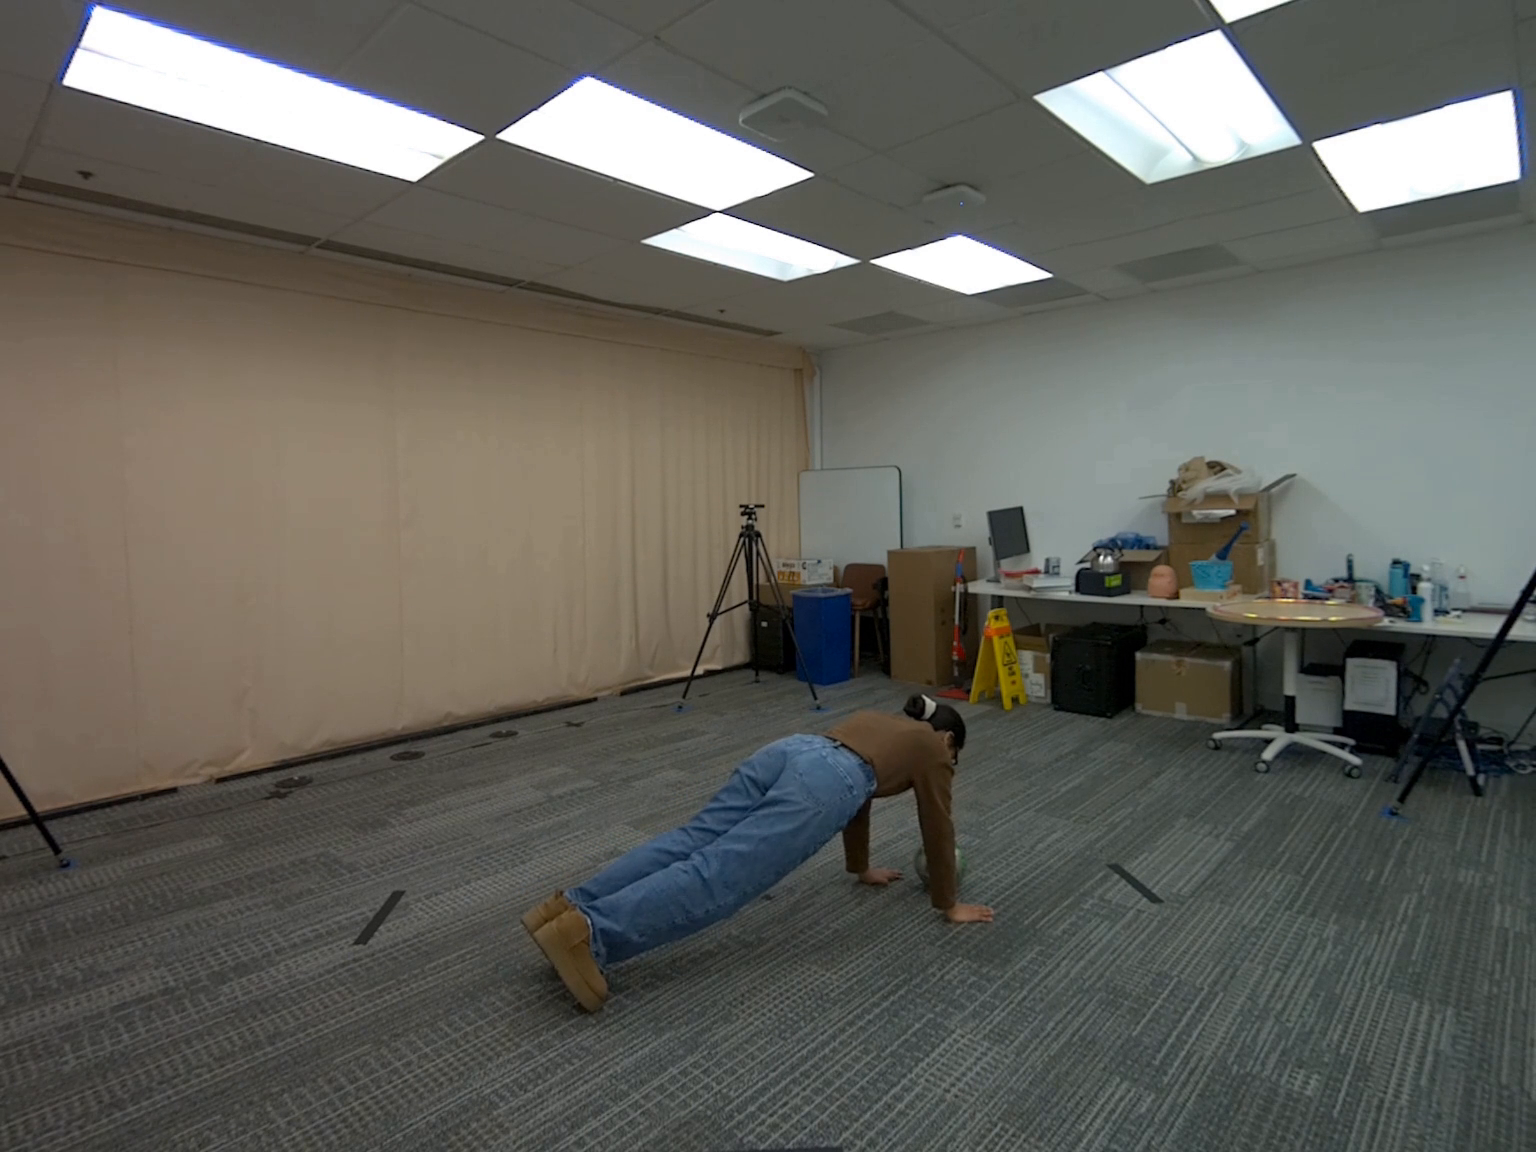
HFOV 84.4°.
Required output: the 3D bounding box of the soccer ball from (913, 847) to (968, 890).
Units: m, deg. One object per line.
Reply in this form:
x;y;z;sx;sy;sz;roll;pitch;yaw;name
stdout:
0.632;1.034;3.031;0.187;0.187;0.188;-1;4;-2;soccer ball
